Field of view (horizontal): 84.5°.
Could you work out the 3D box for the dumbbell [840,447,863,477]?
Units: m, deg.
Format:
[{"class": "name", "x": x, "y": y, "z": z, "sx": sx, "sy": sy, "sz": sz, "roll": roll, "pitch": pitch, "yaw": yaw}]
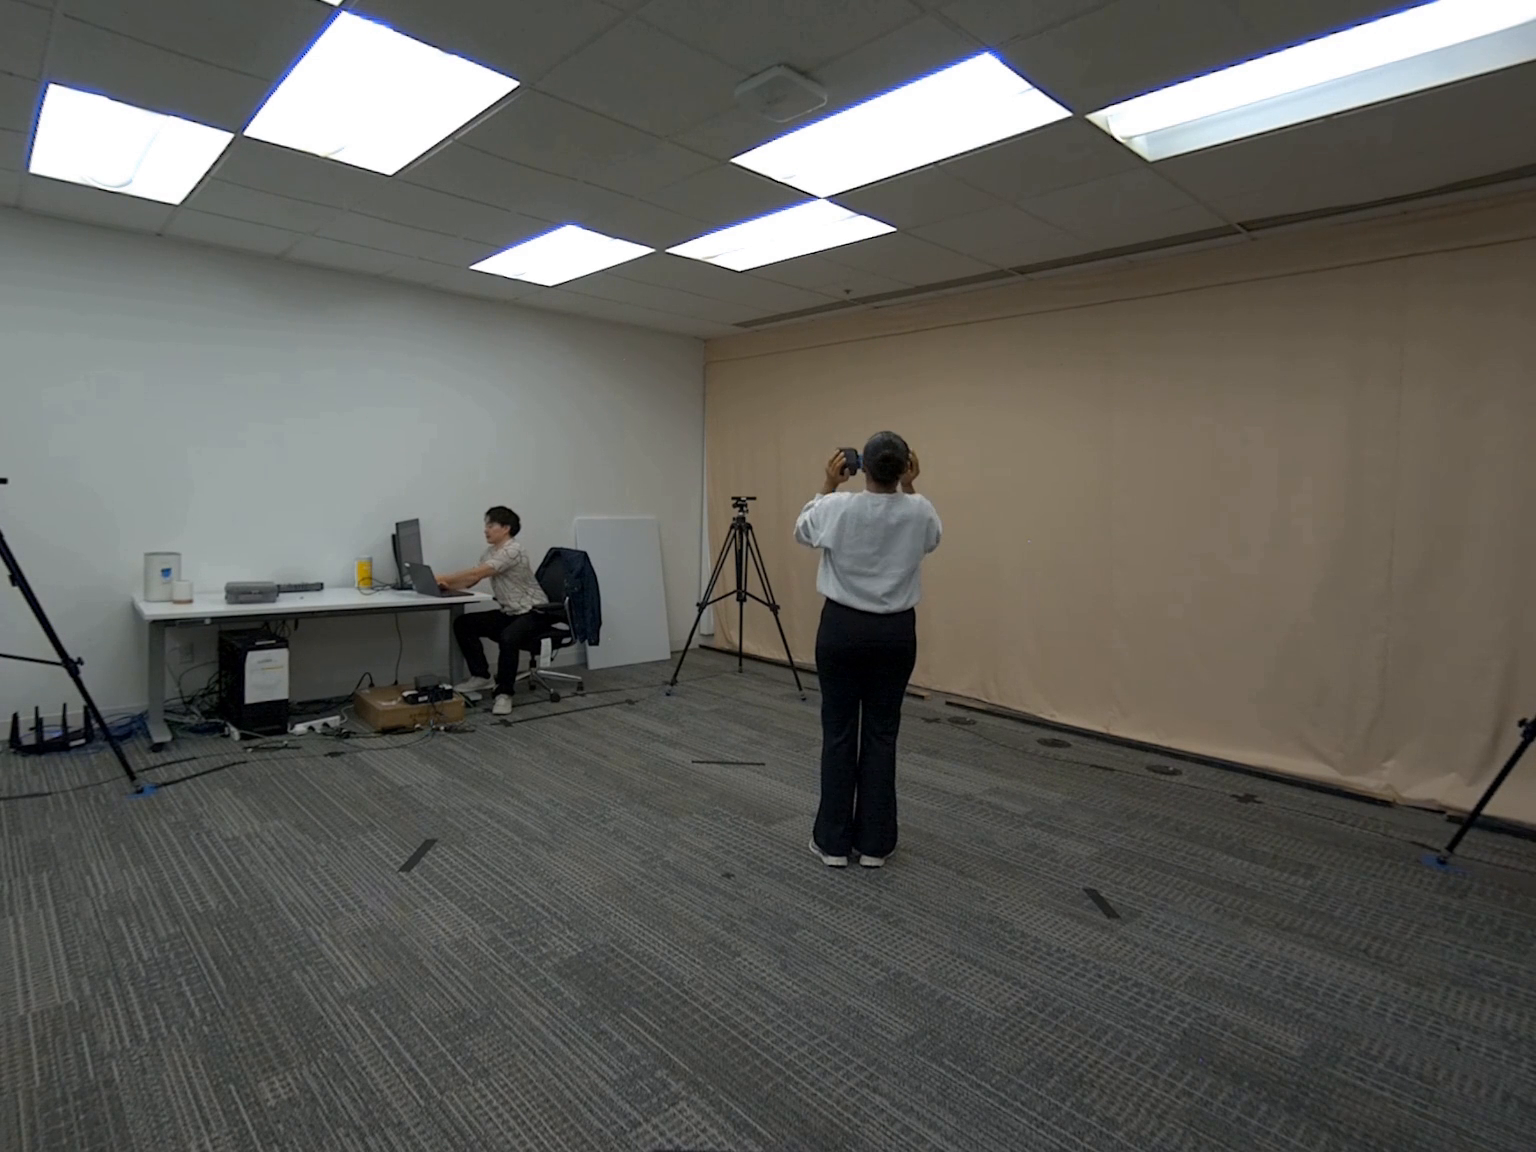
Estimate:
[{"class": "dumbbell", "x": 0.410, "y": -0.460, "z": 3.292, "sx": 0.293, "sy": 0.125, "sz": 0.107, "roll": -1, "pitch": -22, "yaw": -3}]
